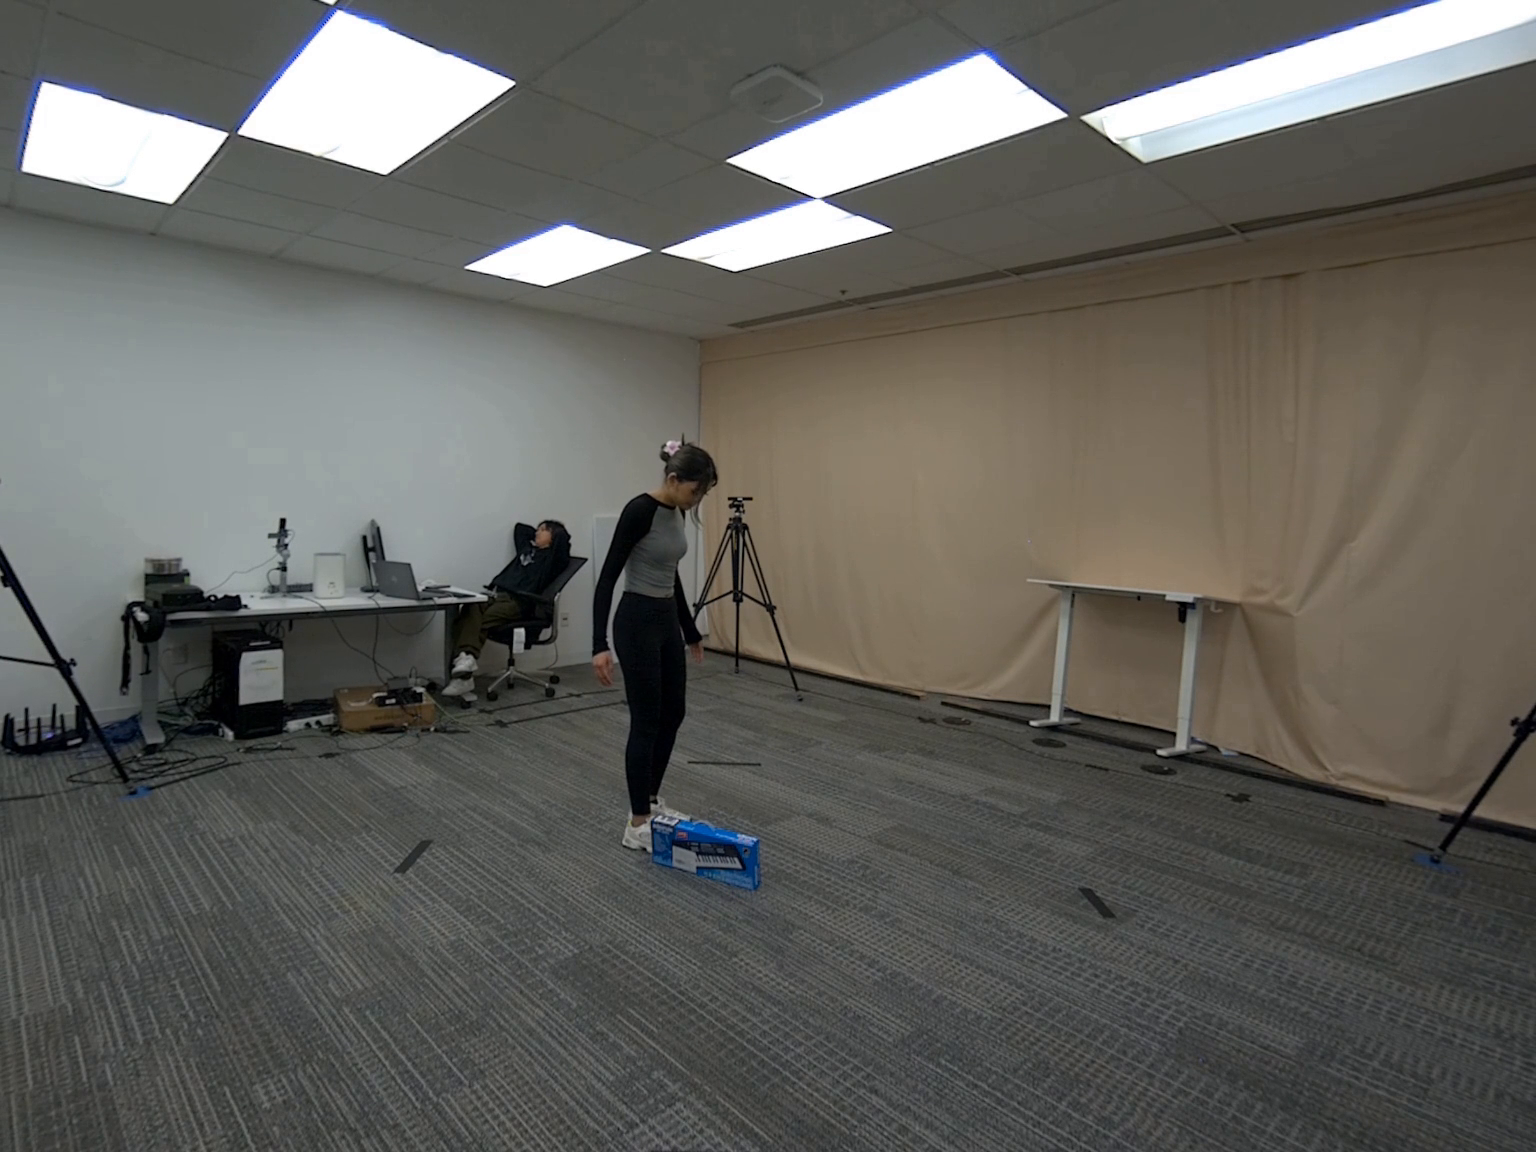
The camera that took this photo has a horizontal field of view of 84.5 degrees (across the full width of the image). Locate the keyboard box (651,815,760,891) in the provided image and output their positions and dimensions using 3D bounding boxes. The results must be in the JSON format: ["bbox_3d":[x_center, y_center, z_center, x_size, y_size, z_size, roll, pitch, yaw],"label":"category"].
[{"bbox_3d":[-0.242,1.017,3.106,0.446,0.174,0.058,4,11,29],"label":"keyboard box"}]
